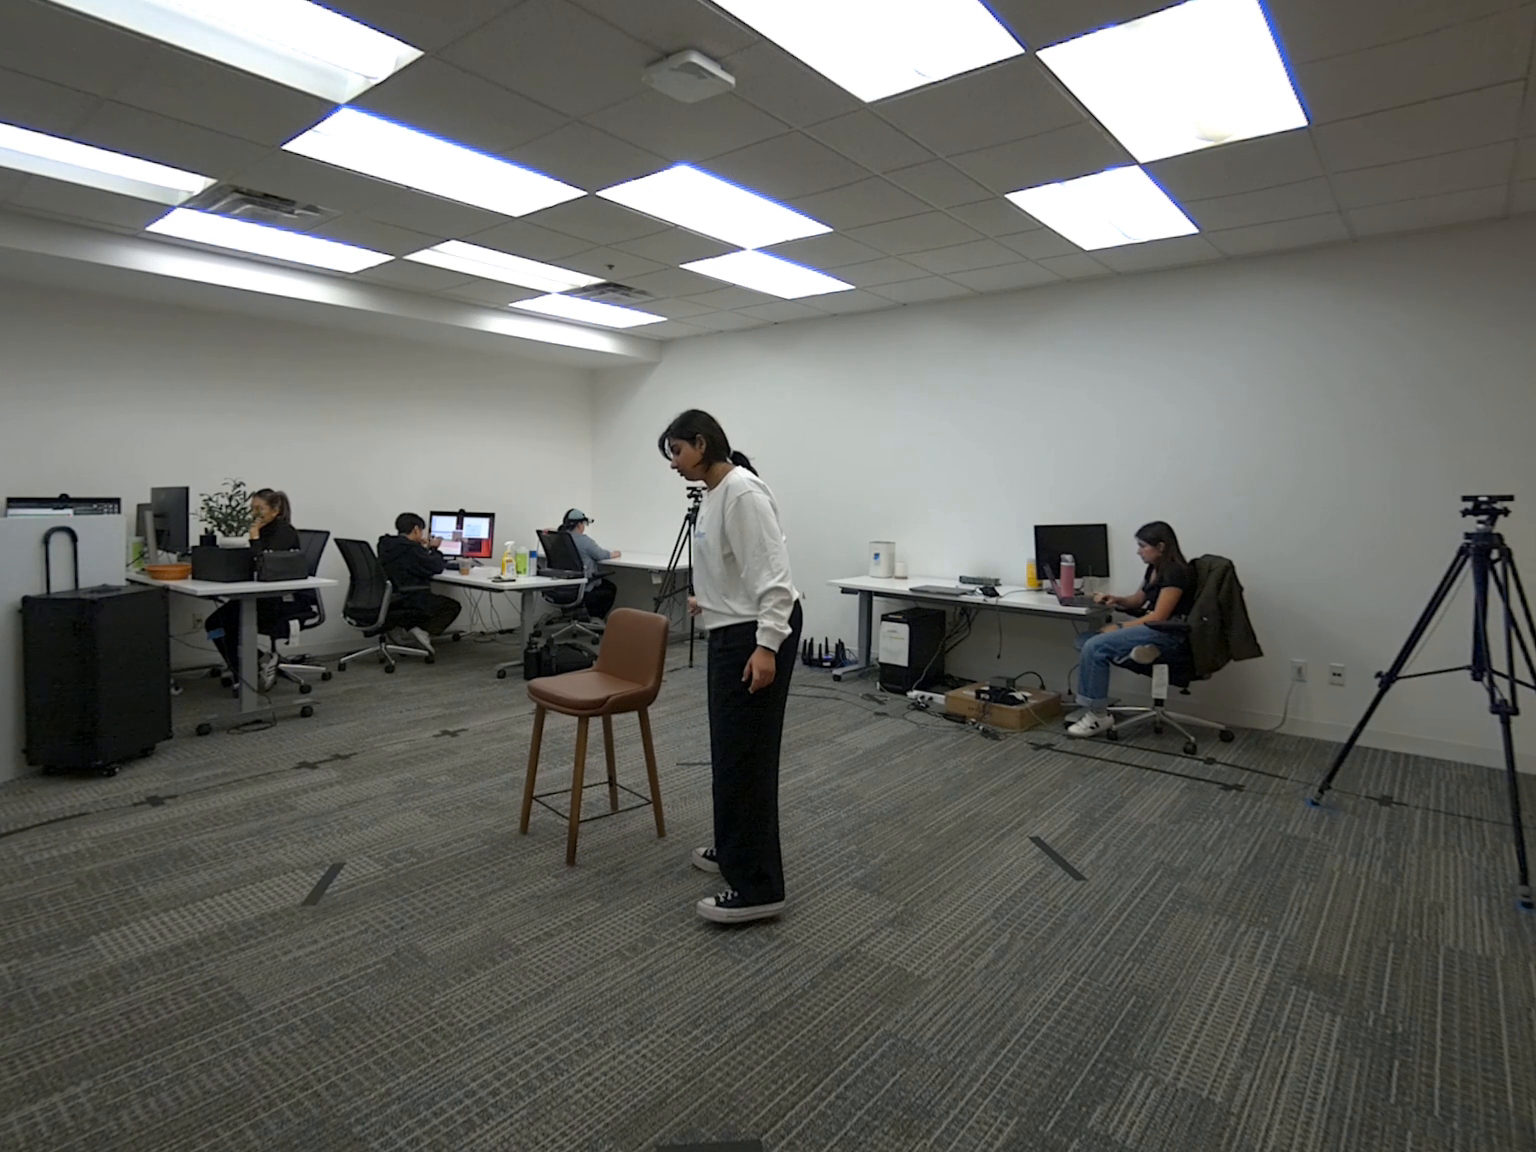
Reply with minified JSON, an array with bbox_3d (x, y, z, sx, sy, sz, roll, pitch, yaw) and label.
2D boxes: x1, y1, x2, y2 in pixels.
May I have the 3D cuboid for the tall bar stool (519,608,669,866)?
[{"bbox_3d":[-0.682,0.591,3.379,0.453,0.888,0.472,2,2,-41],"label":"tall bar stool"}]
